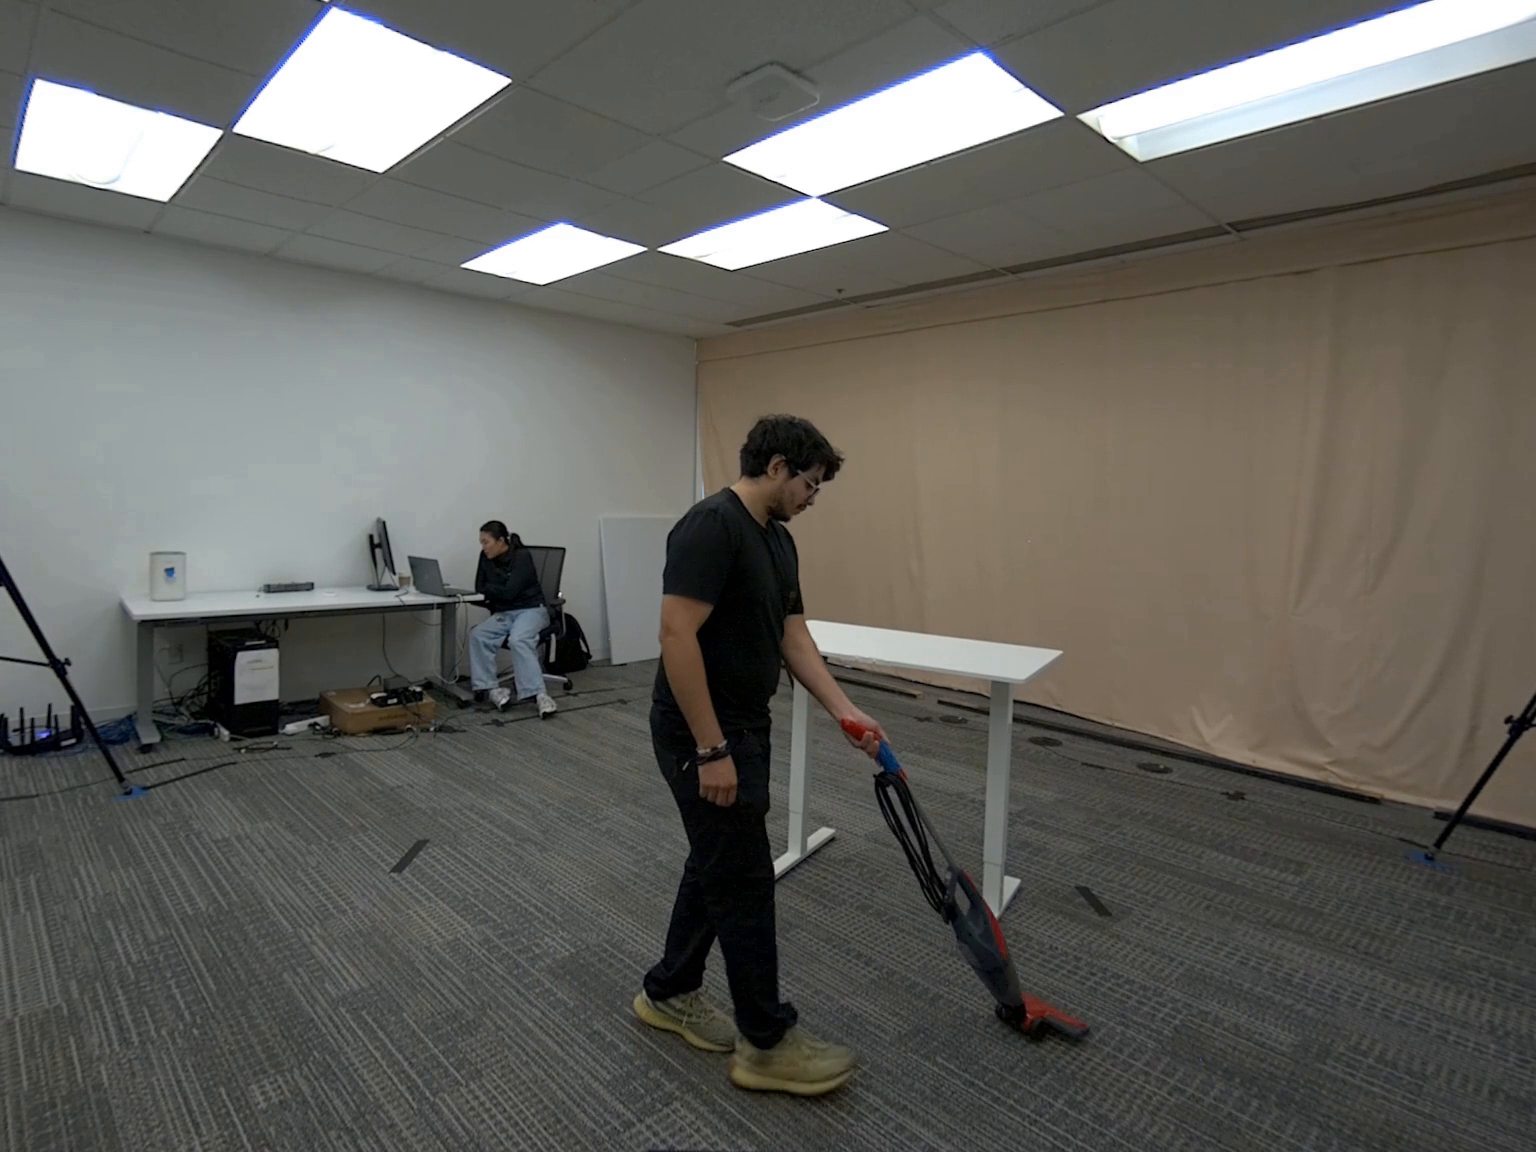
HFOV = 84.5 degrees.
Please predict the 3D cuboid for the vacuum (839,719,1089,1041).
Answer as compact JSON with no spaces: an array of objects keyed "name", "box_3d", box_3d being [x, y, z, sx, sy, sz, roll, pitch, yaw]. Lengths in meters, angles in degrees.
[{"name":"vacuum","box_3d":[0.449,0.770,2.113,0.143,1.031,0.258,-40,19,-29]}]
